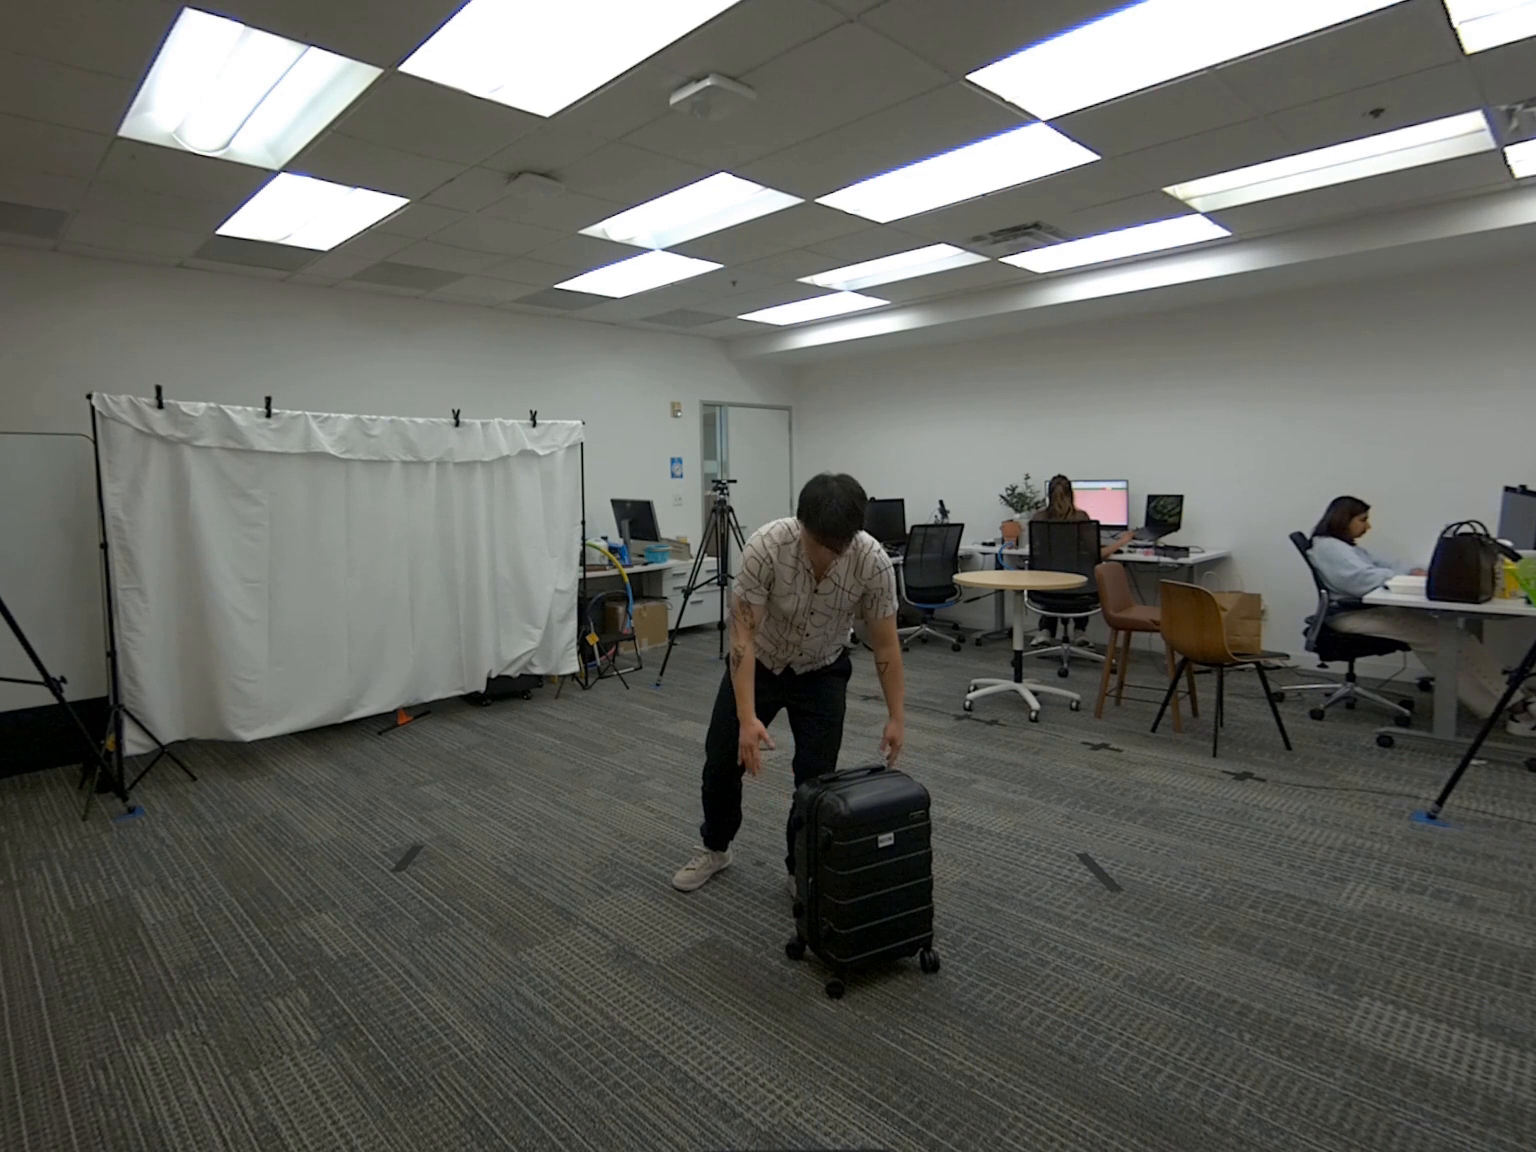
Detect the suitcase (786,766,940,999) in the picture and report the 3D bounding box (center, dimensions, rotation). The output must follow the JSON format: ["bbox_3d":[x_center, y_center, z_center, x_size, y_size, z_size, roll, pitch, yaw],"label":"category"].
[{"bbox_3d":[0.283,0.844,2.447,0.367,0.547,0.255,-3,5,-27],"label":"suitcase"}]
